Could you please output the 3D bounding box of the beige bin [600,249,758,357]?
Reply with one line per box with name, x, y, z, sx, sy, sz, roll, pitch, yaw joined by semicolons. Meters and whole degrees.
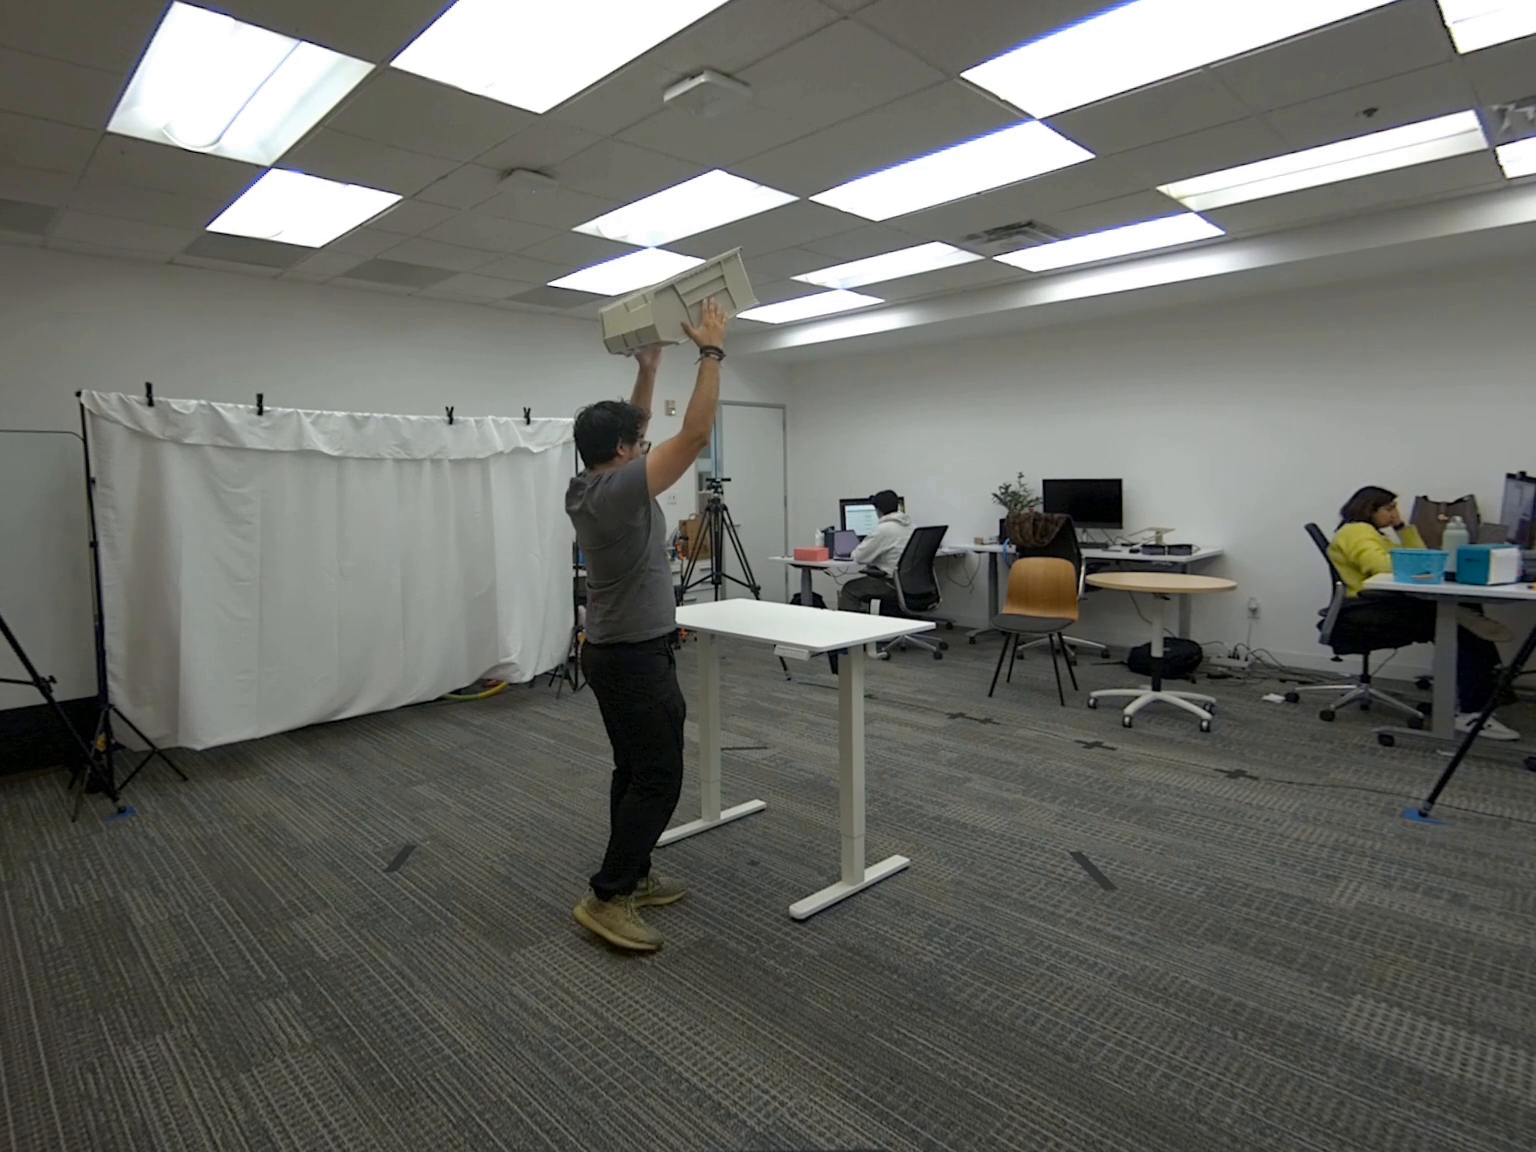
beige bin;-0.294;-0.852;2.733;0.374;0.185;0.435;-33;21;-23
